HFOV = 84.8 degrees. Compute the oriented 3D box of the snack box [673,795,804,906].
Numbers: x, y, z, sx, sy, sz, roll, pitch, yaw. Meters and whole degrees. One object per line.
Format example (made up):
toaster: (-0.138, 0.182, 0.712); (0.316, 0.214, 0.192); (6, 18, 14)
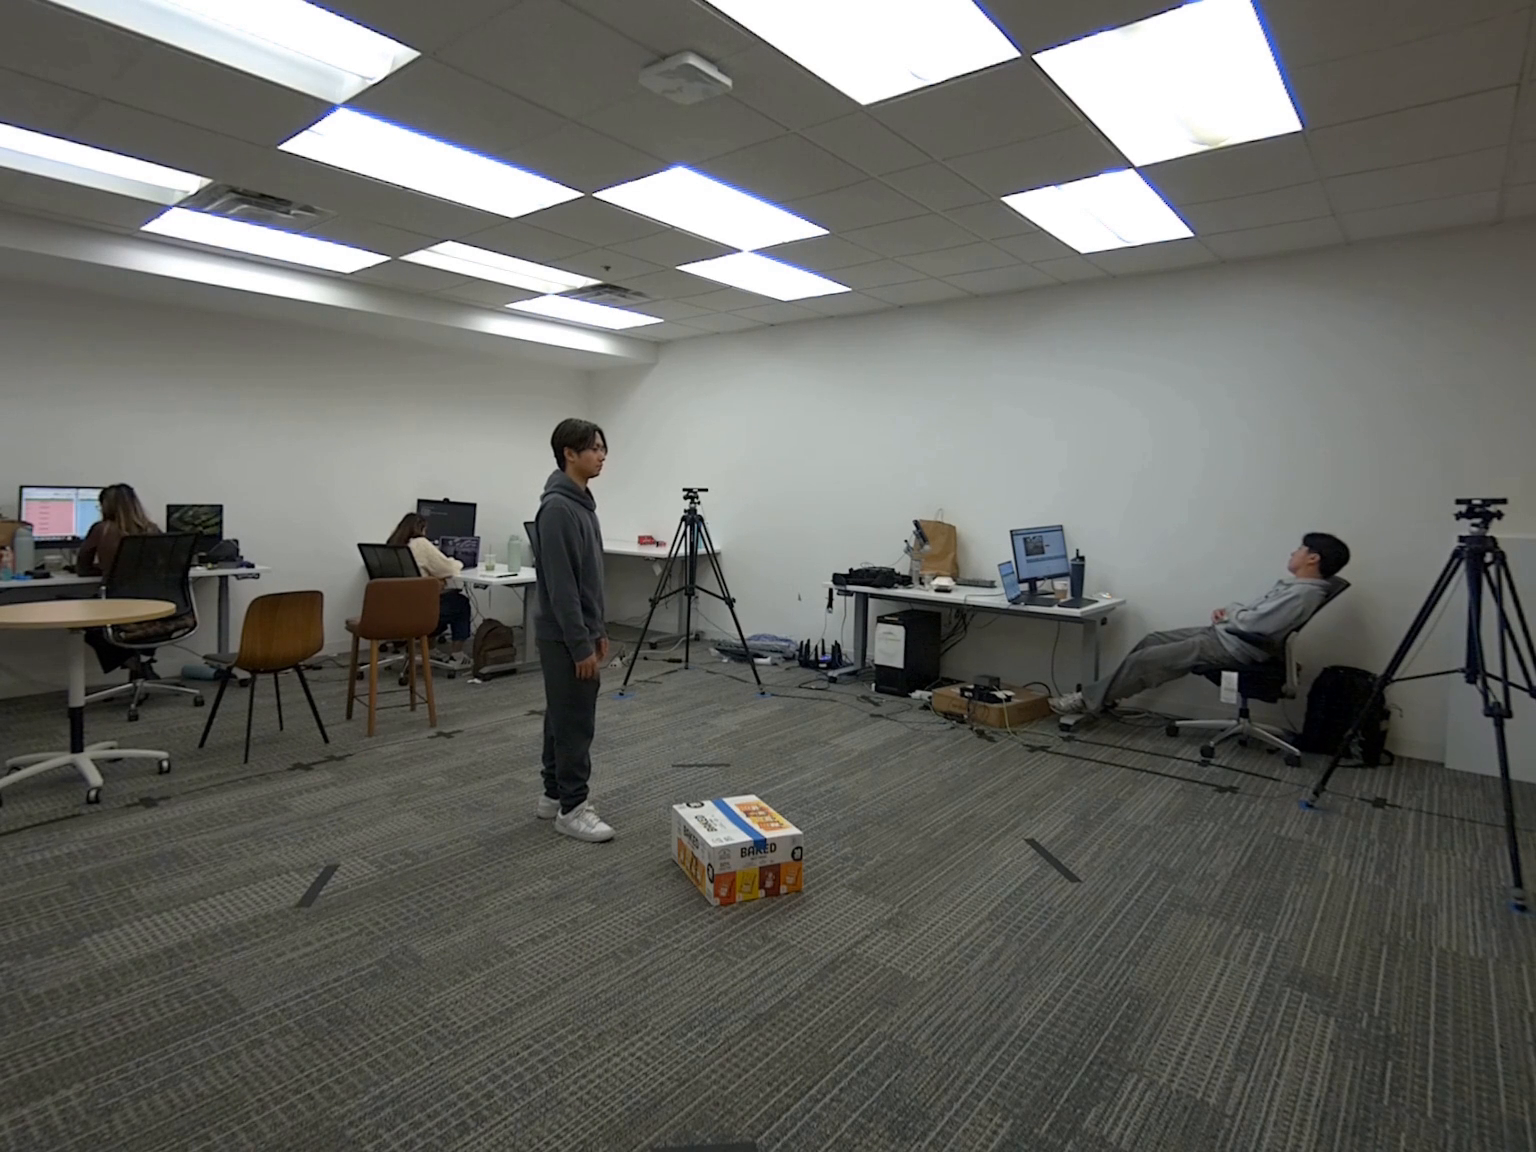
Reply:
snack box: (-0.129, 0.972, 3.068); (0.332, 0.205, 0.416); (-1, 6, -25)
